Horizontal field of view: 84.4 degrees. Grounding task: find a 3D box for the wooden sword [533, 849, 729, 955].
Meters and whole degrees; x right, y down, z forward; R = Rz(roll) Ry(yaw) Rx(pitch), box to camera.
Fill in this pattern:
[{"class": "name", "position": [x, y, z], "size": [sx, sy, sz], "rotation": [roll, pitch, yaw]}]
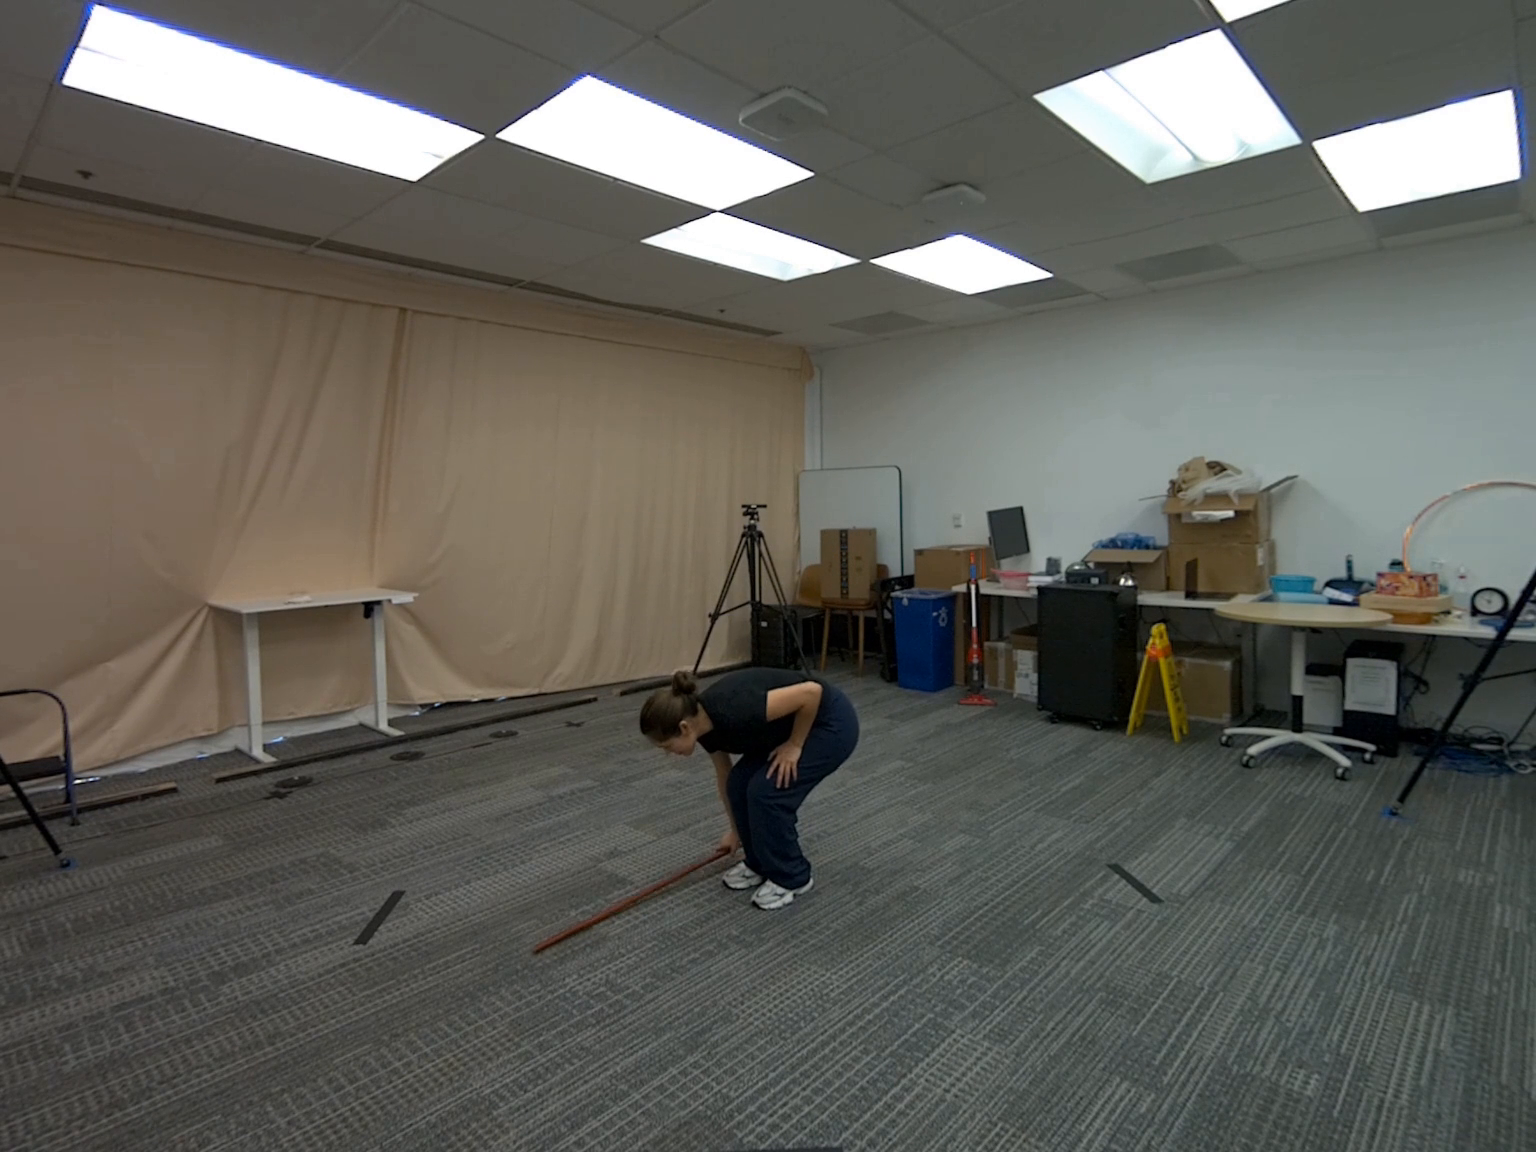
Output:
[{"class": "wooden sword", "position": [-0.368, 1.103, 3.000], "size": [0.995, 0.024, 0.052], "rotation": [-10, -19, -45]}]
